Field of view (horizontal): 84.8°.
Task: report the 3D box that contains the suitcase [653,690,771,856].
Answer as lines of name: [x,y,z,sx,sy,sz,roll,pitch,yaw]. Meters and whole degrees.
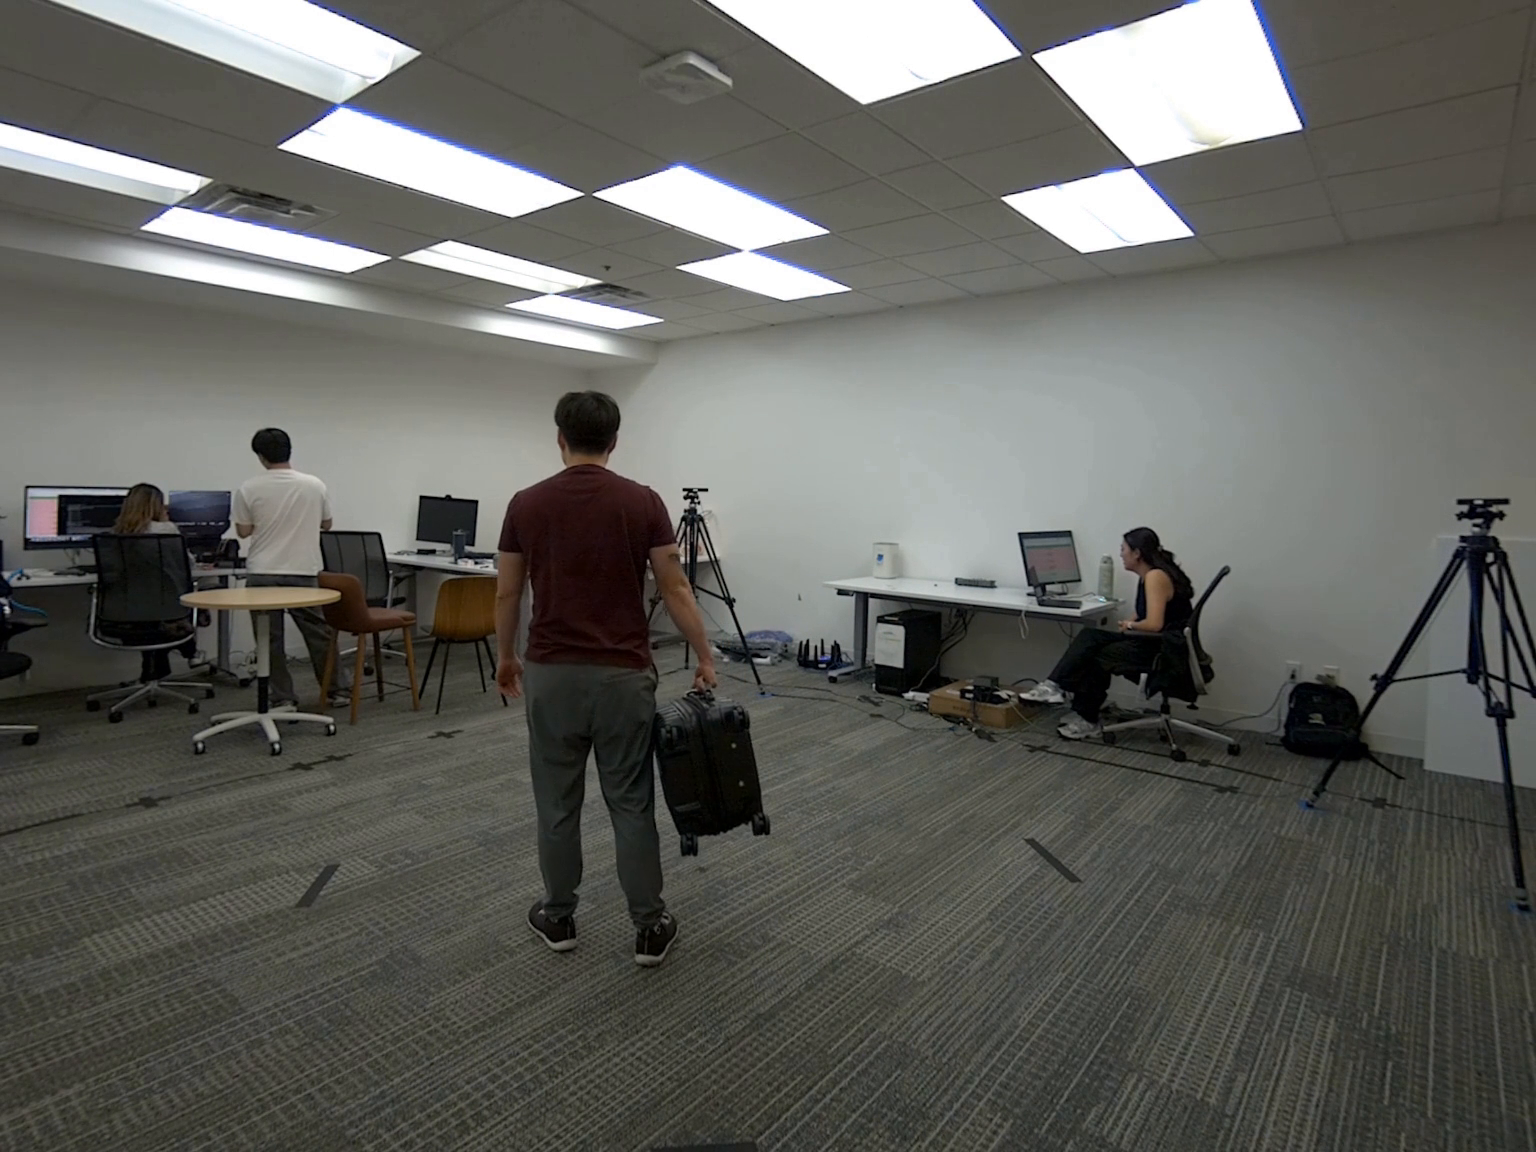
suitcase: [-0.251,0.564,2.788,0.254,0.385,0.988,-10,0,-14]
